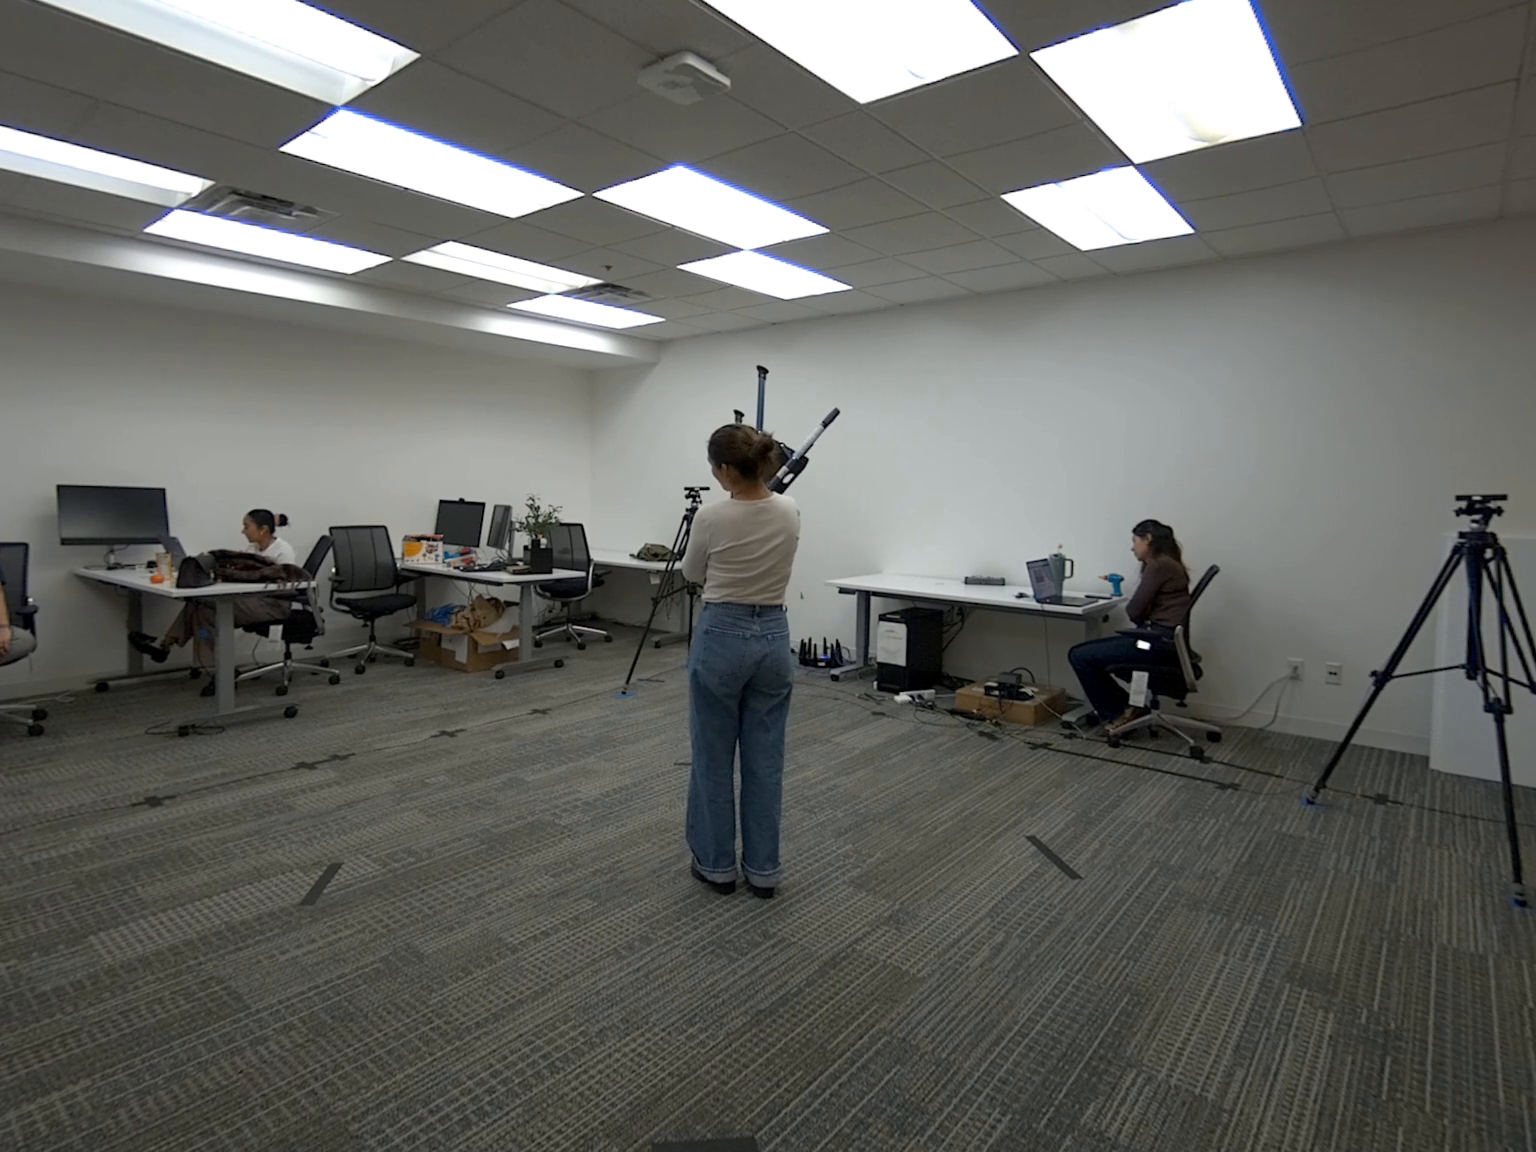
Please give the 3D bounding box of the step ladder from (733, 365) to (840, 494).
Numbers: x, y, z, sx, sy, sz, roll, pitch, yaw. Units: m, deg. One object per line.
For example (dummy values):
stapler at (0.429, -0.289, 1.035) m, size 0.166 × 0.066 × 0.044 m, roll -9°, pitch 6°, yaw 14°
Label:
step ladder at (-0.055, -0.399, 3.248) m, size 0.347 × 0.610 × 0.430 m, roll 27°, pitch -19°, yaw -5°
